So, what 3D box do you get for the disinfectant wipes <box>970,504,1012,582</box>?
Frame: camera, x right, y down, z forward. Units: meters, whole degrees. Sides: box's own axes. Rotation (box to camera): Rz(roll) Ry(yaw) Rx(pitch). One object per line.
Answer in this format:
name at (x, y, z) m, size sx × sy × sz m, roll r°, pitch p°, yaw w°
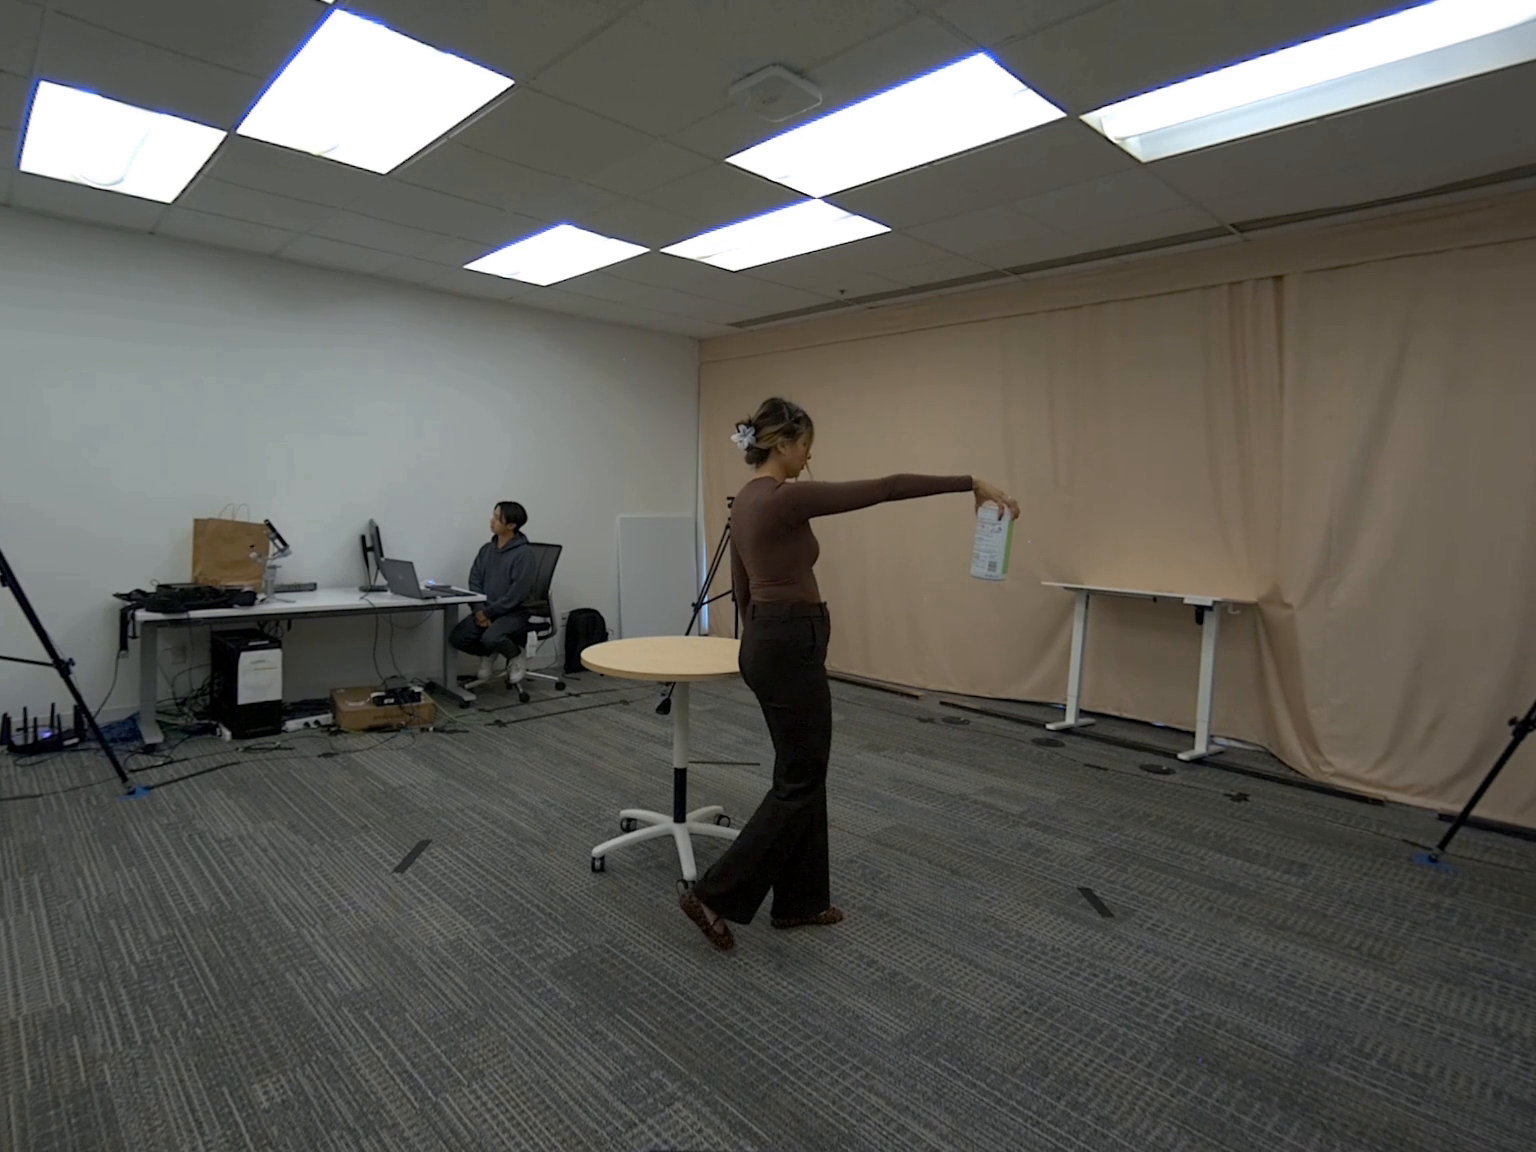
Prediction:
disinfectant wipes at (0.677, -0.099, 2.555) m, size 0.117 × 0.216 × 0.118 m, roll 5°, pitch 8°, yaw -2°
